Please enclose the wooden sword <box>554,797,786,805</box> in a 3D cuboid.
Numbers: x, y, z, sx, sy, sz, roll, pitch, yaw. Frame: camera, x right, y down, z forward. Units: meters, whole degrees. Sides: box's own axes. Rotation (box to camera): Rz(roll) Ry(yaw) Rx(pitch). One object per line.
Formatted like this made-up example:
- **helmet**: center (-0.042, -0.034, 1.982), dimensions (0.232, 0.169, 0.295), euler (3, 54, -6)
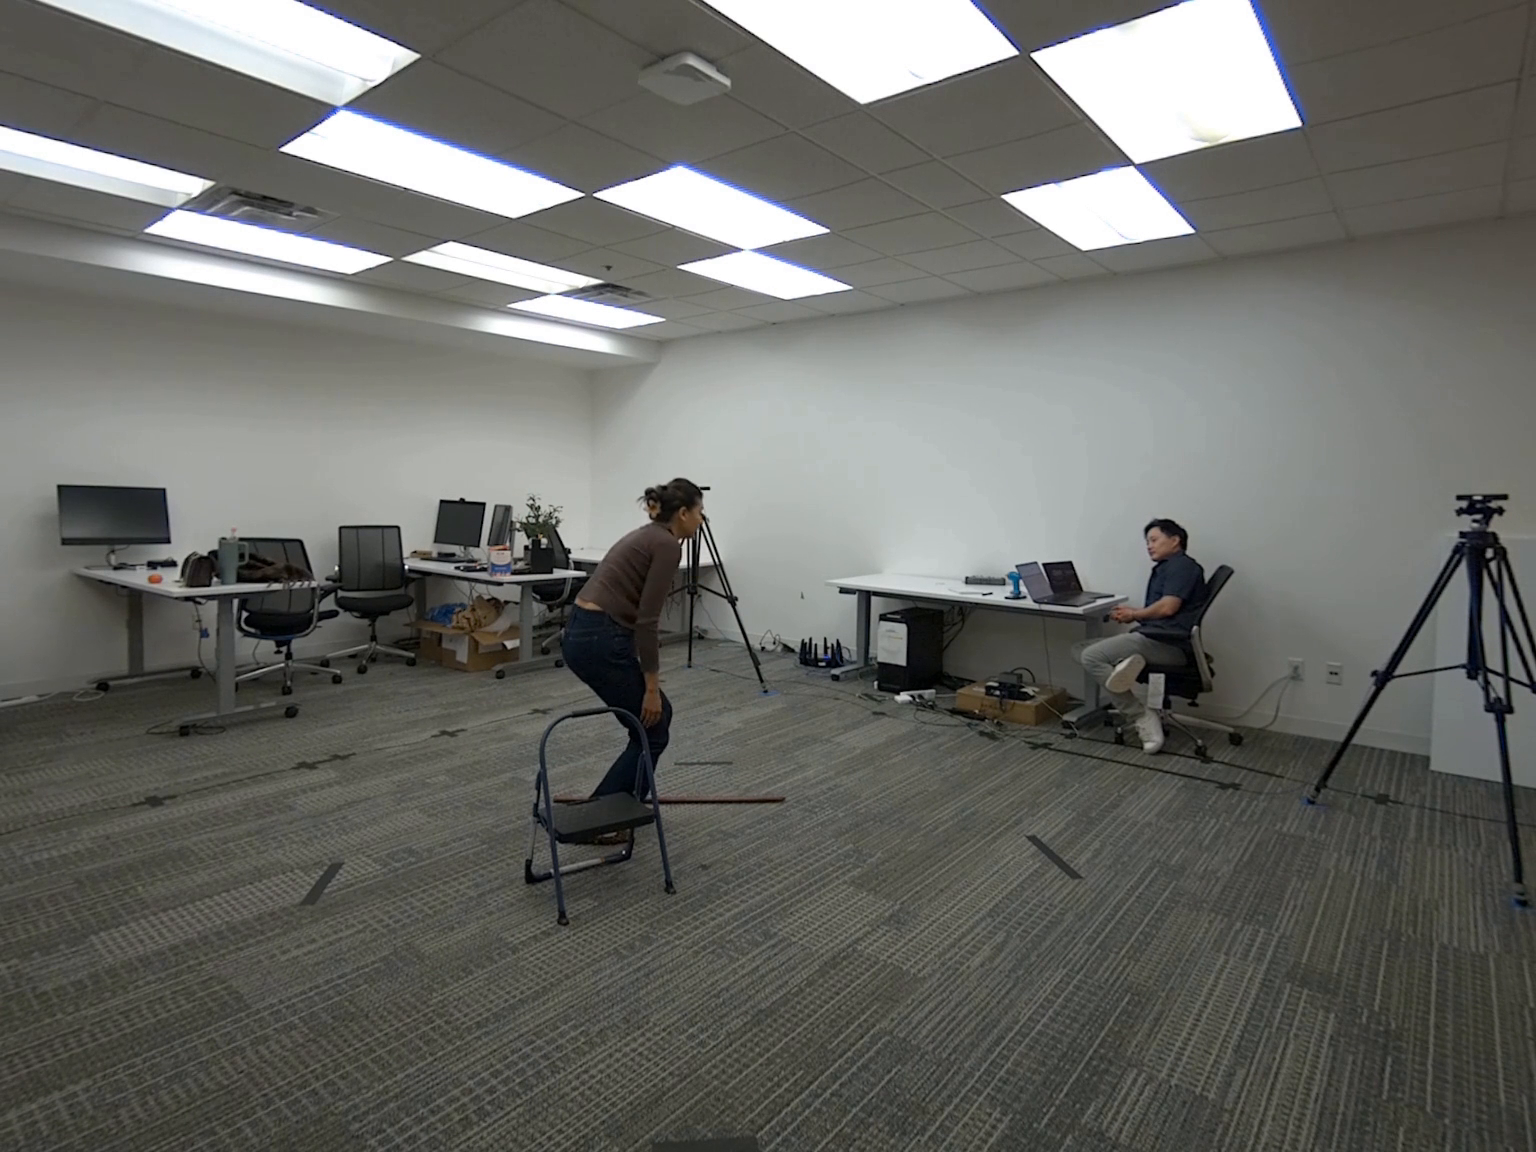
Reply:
- **wooden sword**: center (-0.444, 0.971, 3.728), dimensions (1.025, 0.053, 0.023), euler (-1, -42, 0)
